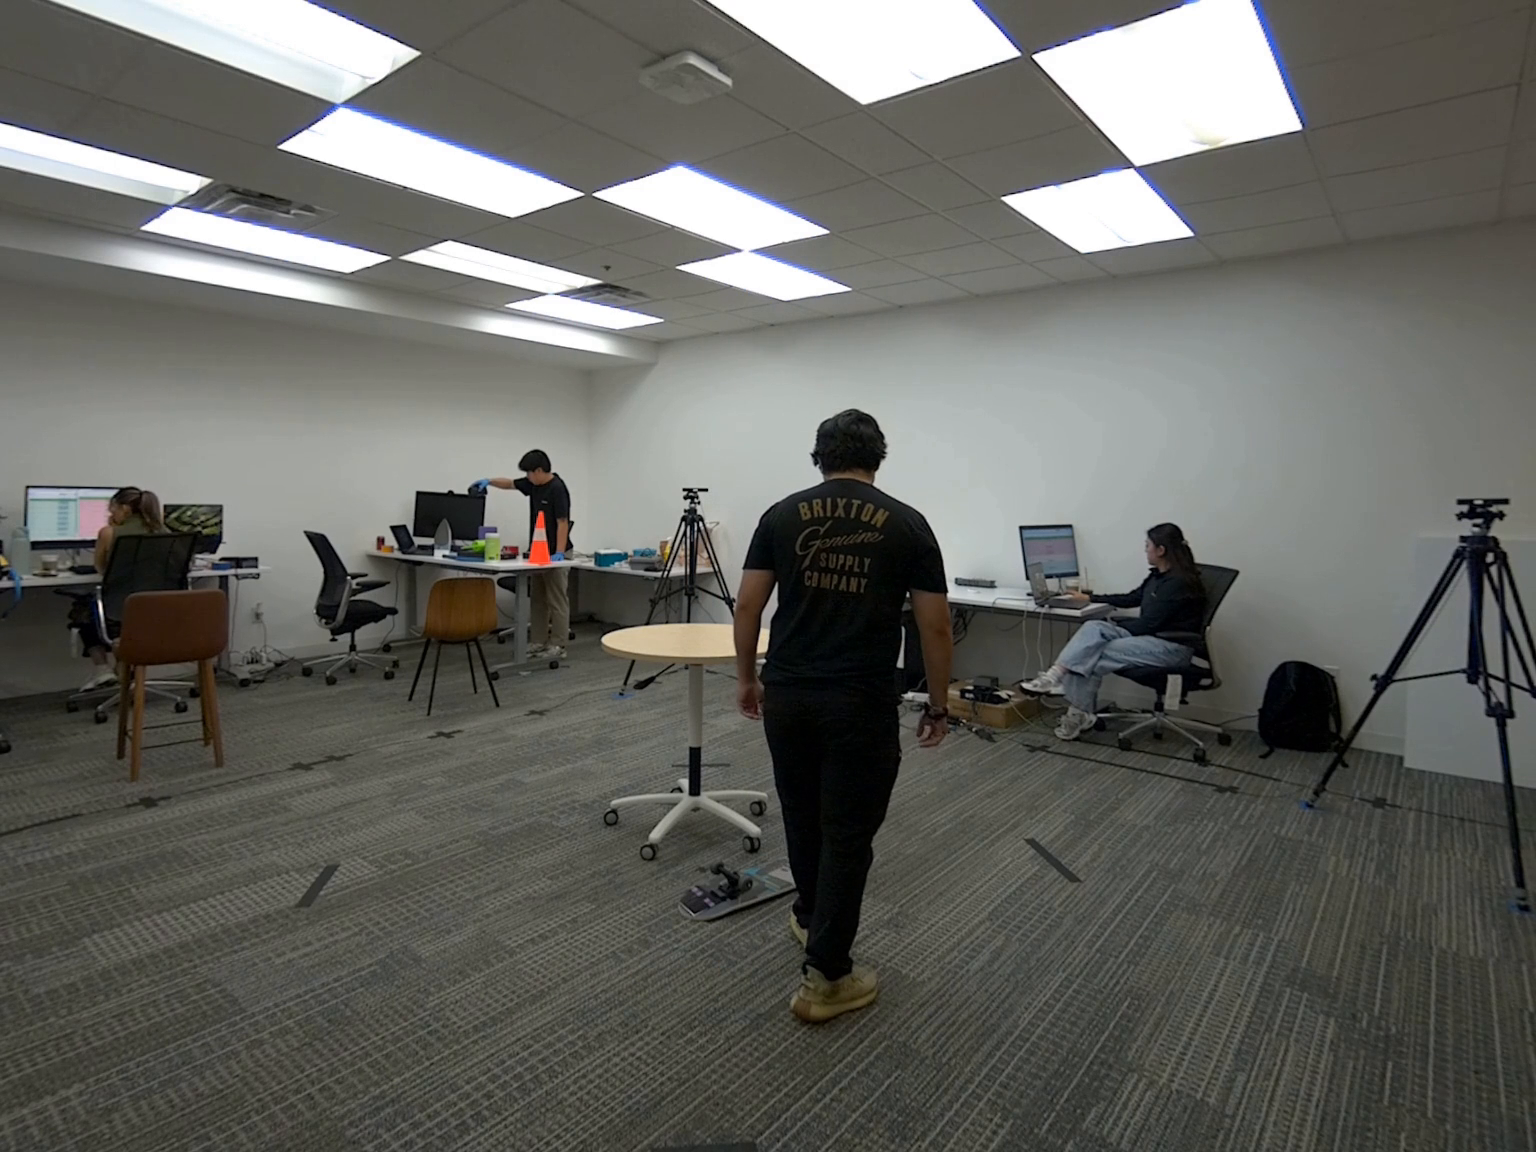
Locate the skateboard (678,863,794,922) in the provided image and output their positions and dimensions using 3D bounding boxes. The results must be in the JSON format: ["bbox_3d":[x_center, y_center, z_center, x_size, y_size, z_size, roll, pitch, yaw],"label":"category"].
[{"bbox_3d":[0.019,1.032,3.003,0.762,0.110,0.200,-4,8,-39],"label":"skateboard"}]
